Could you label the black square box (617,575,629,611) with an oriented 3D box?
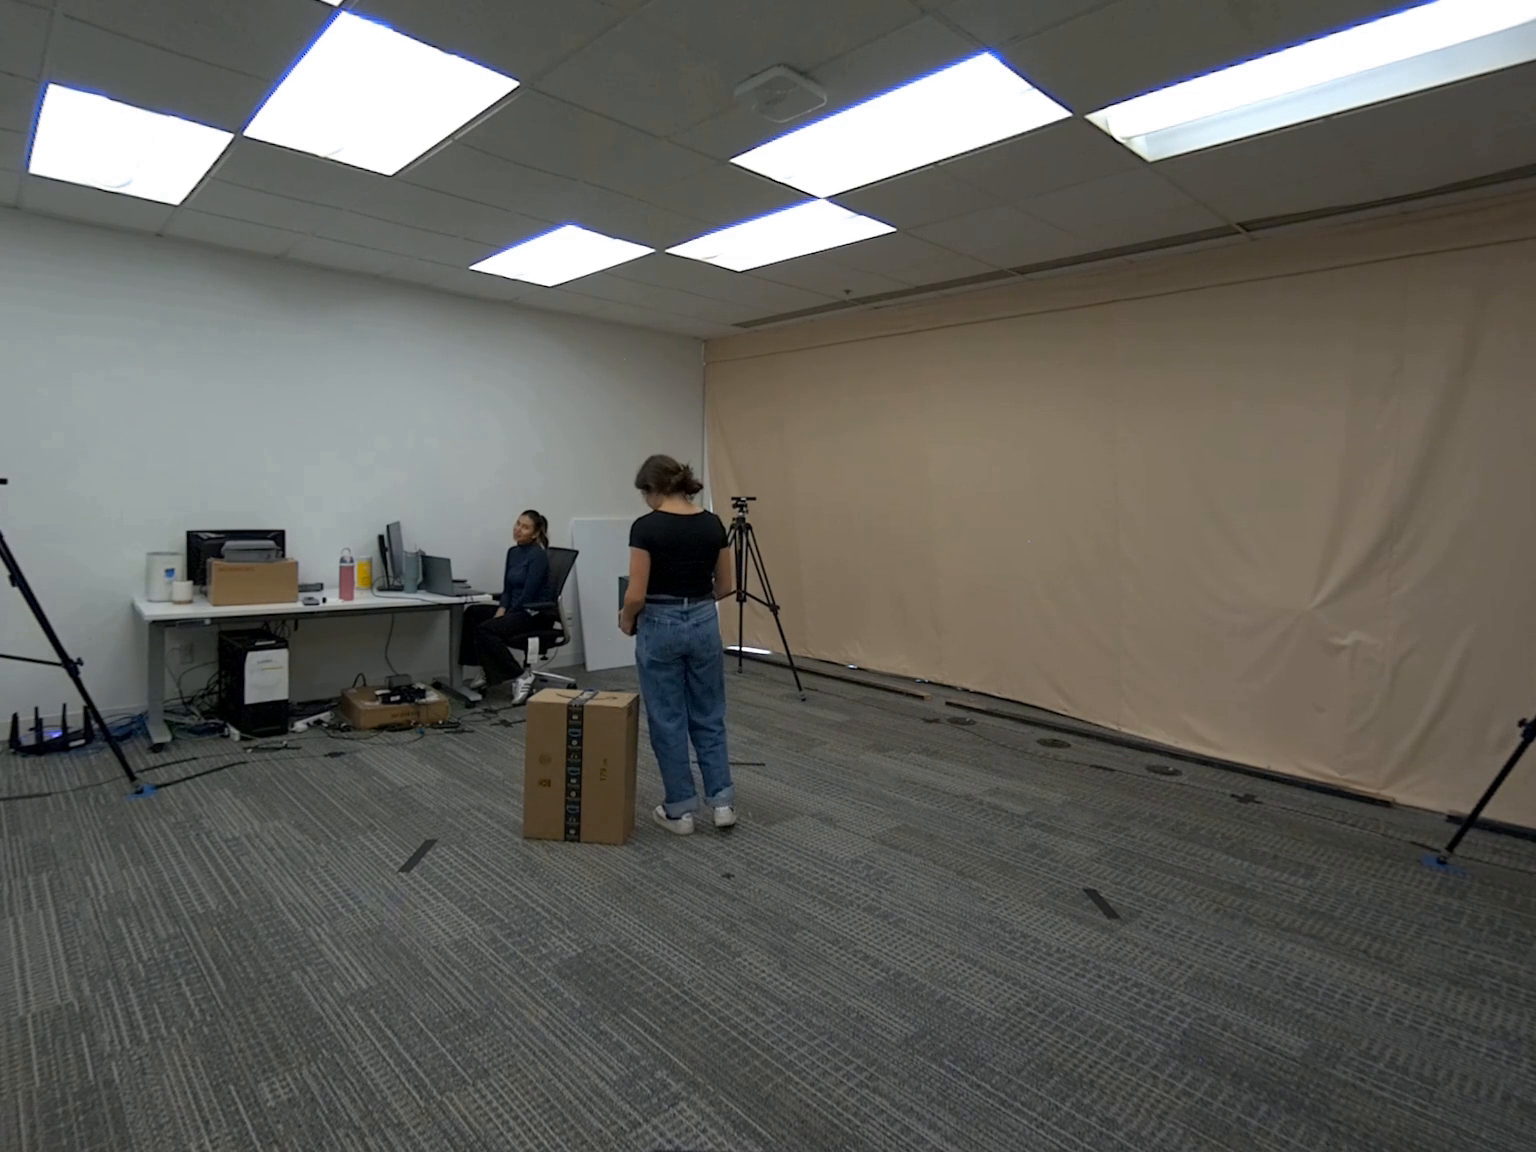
[{"bbox_3d":[-0.505,0.120,3.675,0.213,0.226,0.160,-6,12,-35],"label":"black square box"}]
